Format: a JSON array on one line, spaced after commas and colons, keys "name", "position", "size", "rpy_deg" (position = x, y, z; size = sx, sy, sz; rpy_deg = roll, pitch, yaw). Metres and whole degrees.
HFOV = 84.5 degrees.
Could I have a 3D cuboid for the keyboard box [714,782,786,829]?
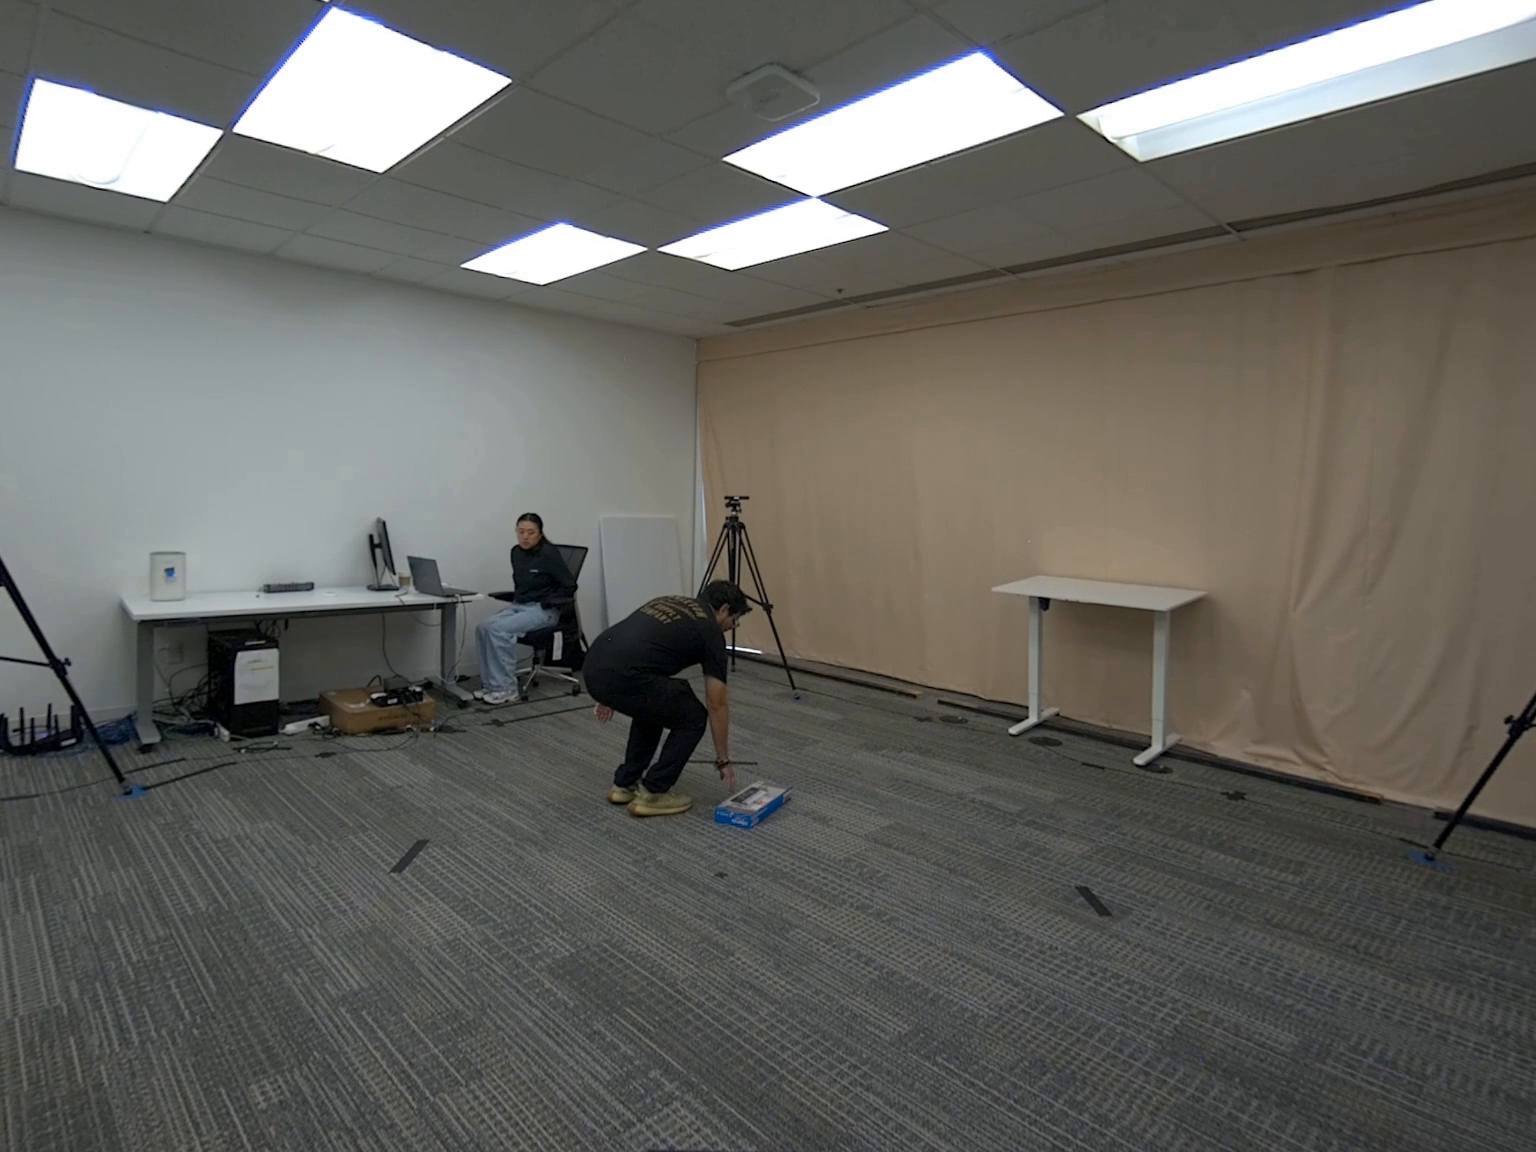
[{"name": "keyboard box", "position": [-0.067, 1.018, 3.776], "size": [0.179, 0.059, 0.429], "rpy_deg": [5, 6, 26]}]
